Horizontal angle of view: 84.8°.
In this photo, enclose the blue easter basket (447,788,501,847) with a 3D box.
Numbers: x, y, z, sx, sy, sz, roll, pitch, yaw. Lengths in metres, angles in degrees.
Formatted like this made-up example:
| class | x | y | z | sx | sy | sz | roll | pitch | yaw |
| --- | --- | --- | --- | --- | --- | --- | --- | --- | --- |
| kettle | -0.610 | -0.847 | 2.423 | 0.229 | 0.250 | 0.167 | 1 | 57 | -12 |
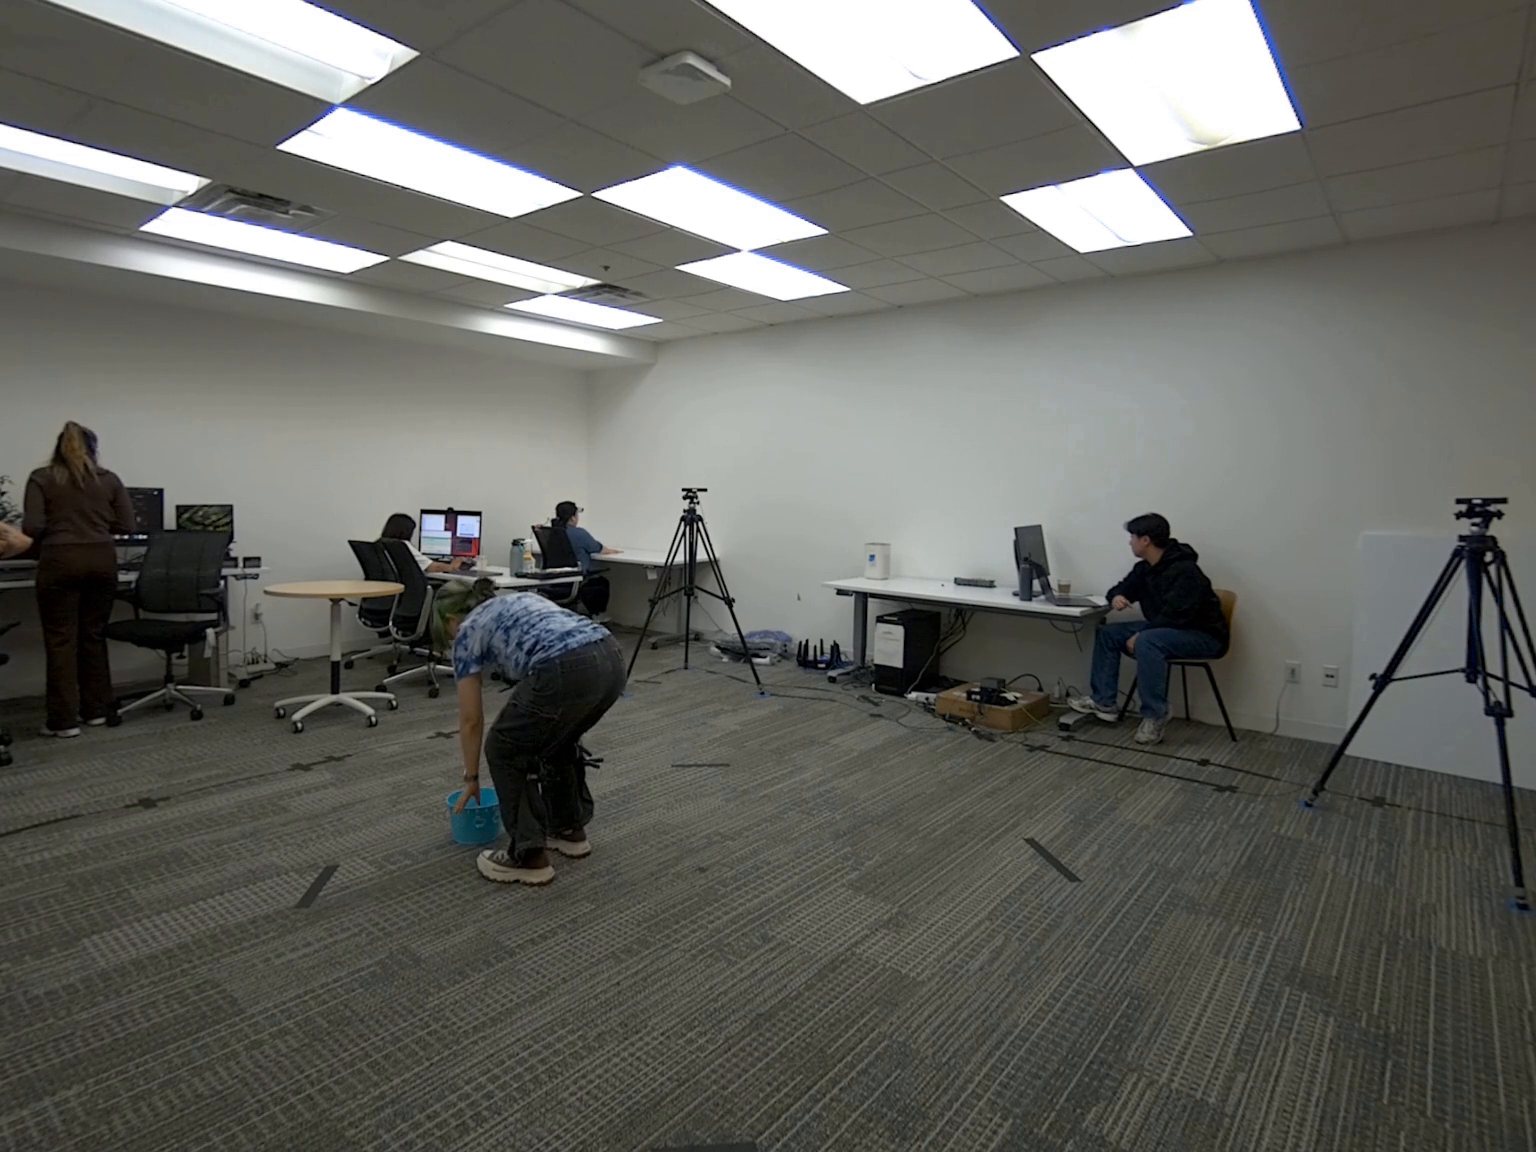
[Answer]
| class | x | y | z | sx | sy | sz | roll | pitch | yaw |
| --- | --- | --- | --- | --- | --- | --- | --- | --- | --- |
| blue easter basket | -1.173 | 0.950 | 3.385 | 0.243 | 0.155 | 0.245 | 2 | 5 | -2 |
